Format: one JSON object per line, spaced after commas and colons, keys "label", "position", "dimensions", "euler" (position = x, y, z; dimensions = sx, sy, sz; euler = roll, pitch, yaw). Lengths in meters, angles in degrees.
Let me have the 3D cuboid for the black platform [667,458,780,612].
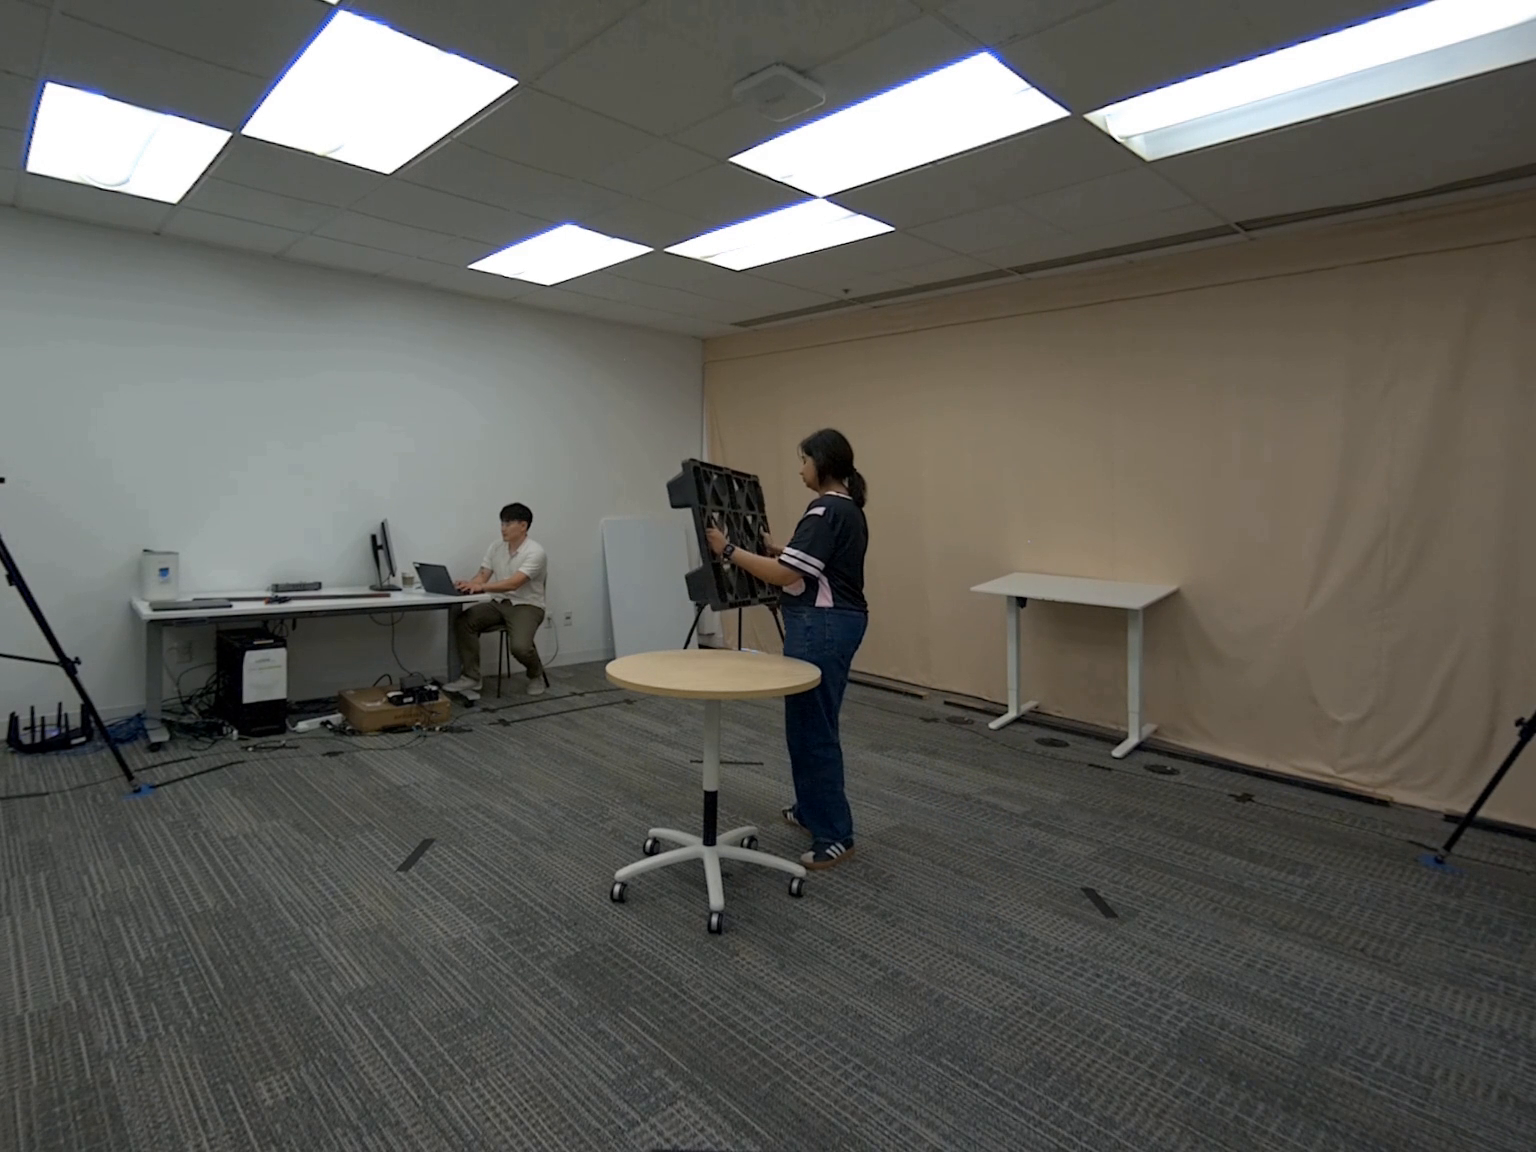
{"label": "black platform", "position": [-0.176, -0.151, 3.594], "dimensions": [0.145, 0.608, 0.793], "euler": [-13, -4, 19]}
